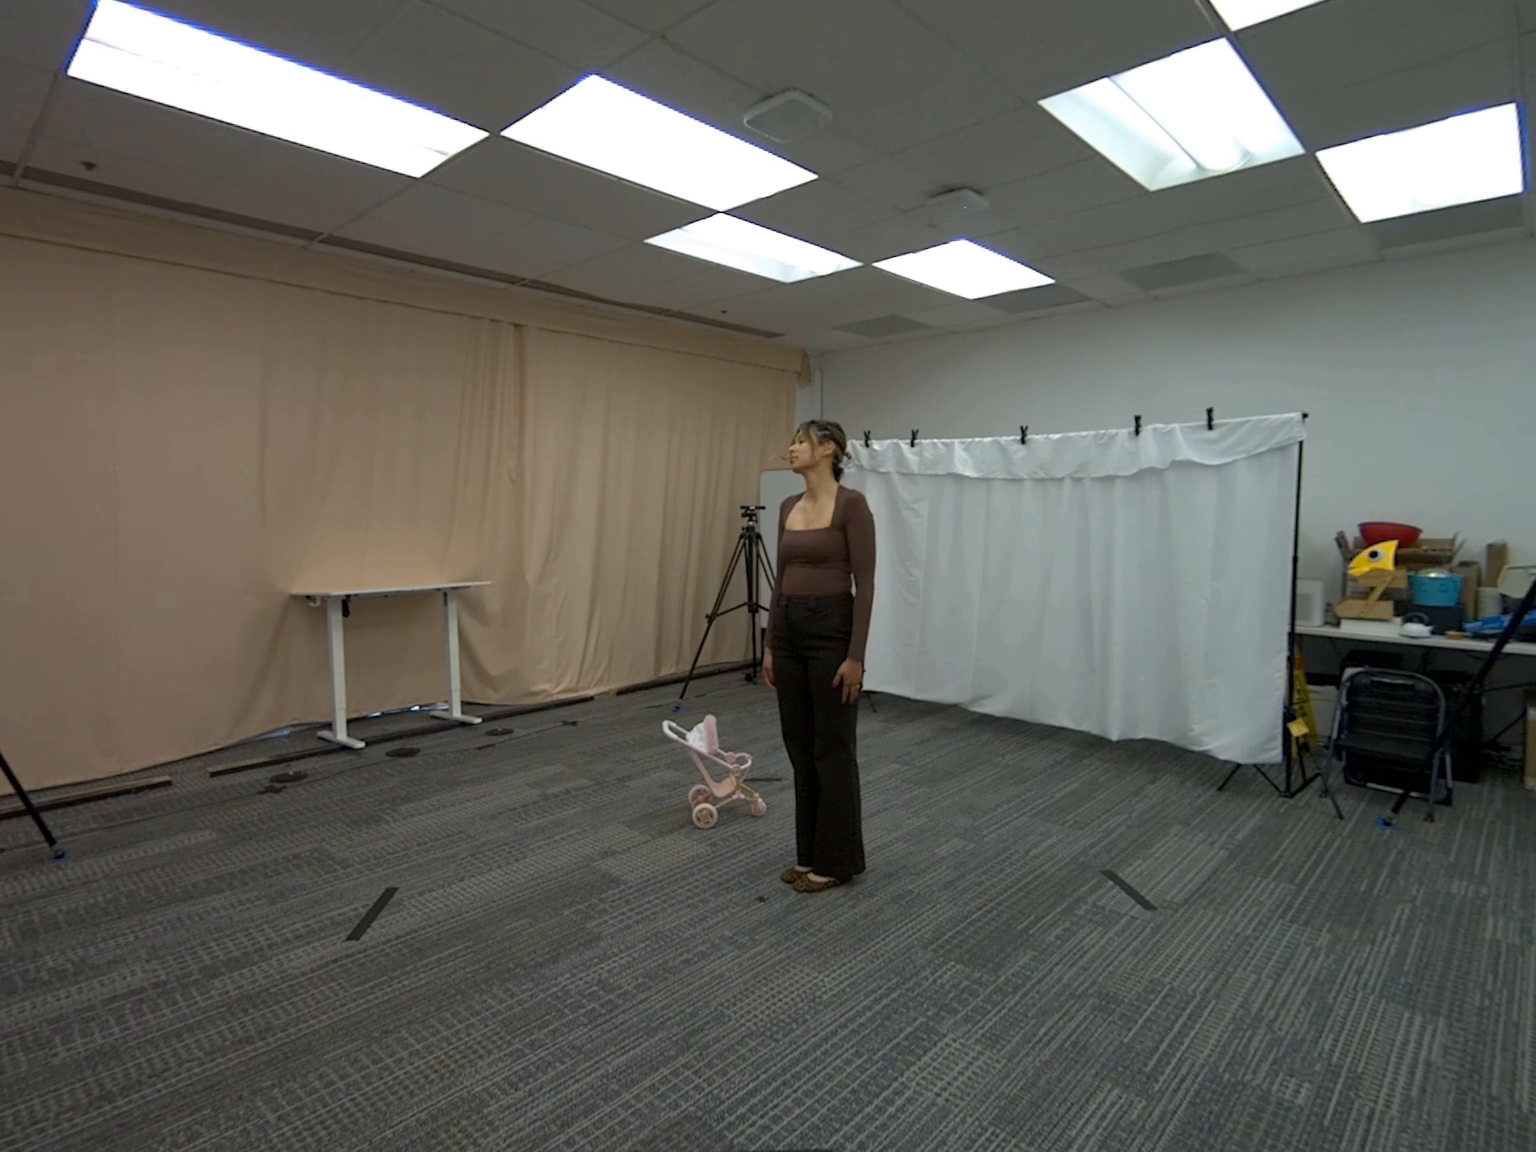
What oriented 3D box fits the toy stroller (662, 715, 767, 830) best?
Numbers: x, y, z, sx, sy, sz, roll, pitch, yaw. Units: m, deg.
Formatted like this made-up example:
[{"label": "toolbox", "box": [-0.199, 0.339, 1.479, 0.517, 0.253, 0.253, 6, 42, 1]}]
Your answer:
[{"label": "toy stroller", "box": [-0.230, 0.858, 3.759, 0.341, 0.533, 0.282, -17, 3, -1]}]
